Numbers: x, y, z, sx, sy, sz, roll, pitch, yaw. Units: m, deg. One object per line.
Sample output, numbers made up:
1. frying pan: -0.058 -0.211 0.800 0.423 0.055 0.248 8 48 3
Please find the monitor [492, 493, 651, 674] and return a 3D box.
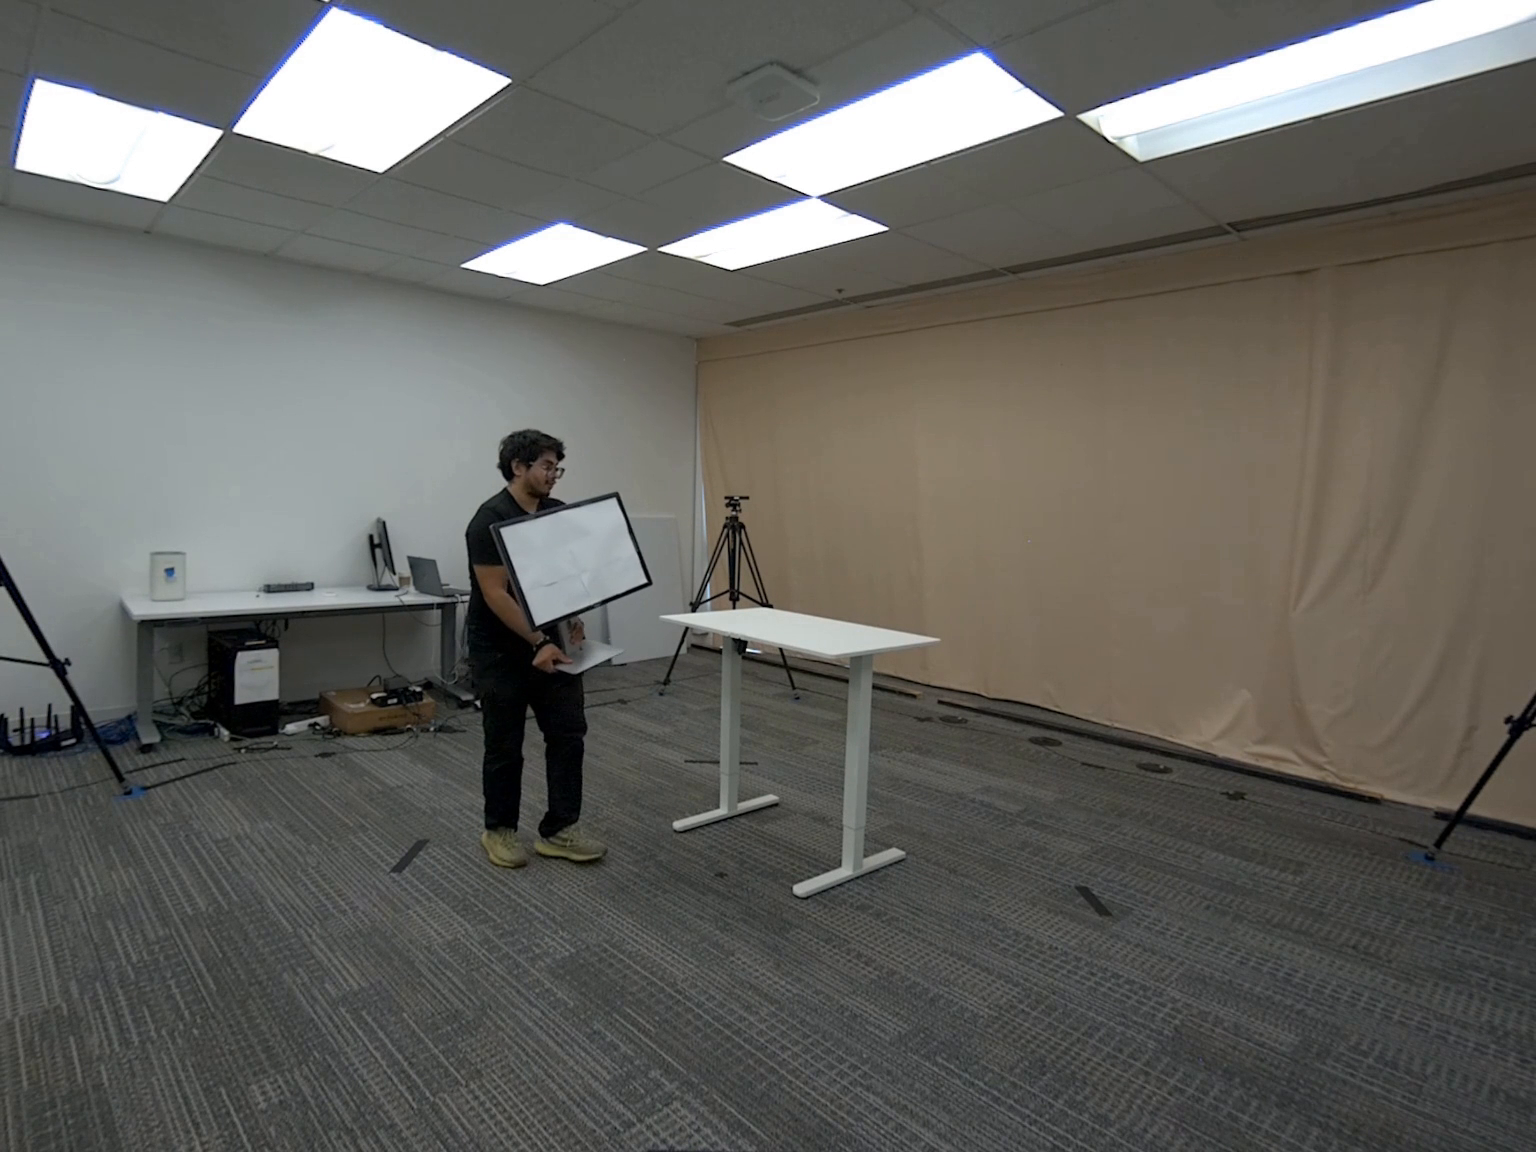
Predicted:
1. monitor: -0.688 0.034 2.897 0.214 0.550 0.558 -8 10 37
